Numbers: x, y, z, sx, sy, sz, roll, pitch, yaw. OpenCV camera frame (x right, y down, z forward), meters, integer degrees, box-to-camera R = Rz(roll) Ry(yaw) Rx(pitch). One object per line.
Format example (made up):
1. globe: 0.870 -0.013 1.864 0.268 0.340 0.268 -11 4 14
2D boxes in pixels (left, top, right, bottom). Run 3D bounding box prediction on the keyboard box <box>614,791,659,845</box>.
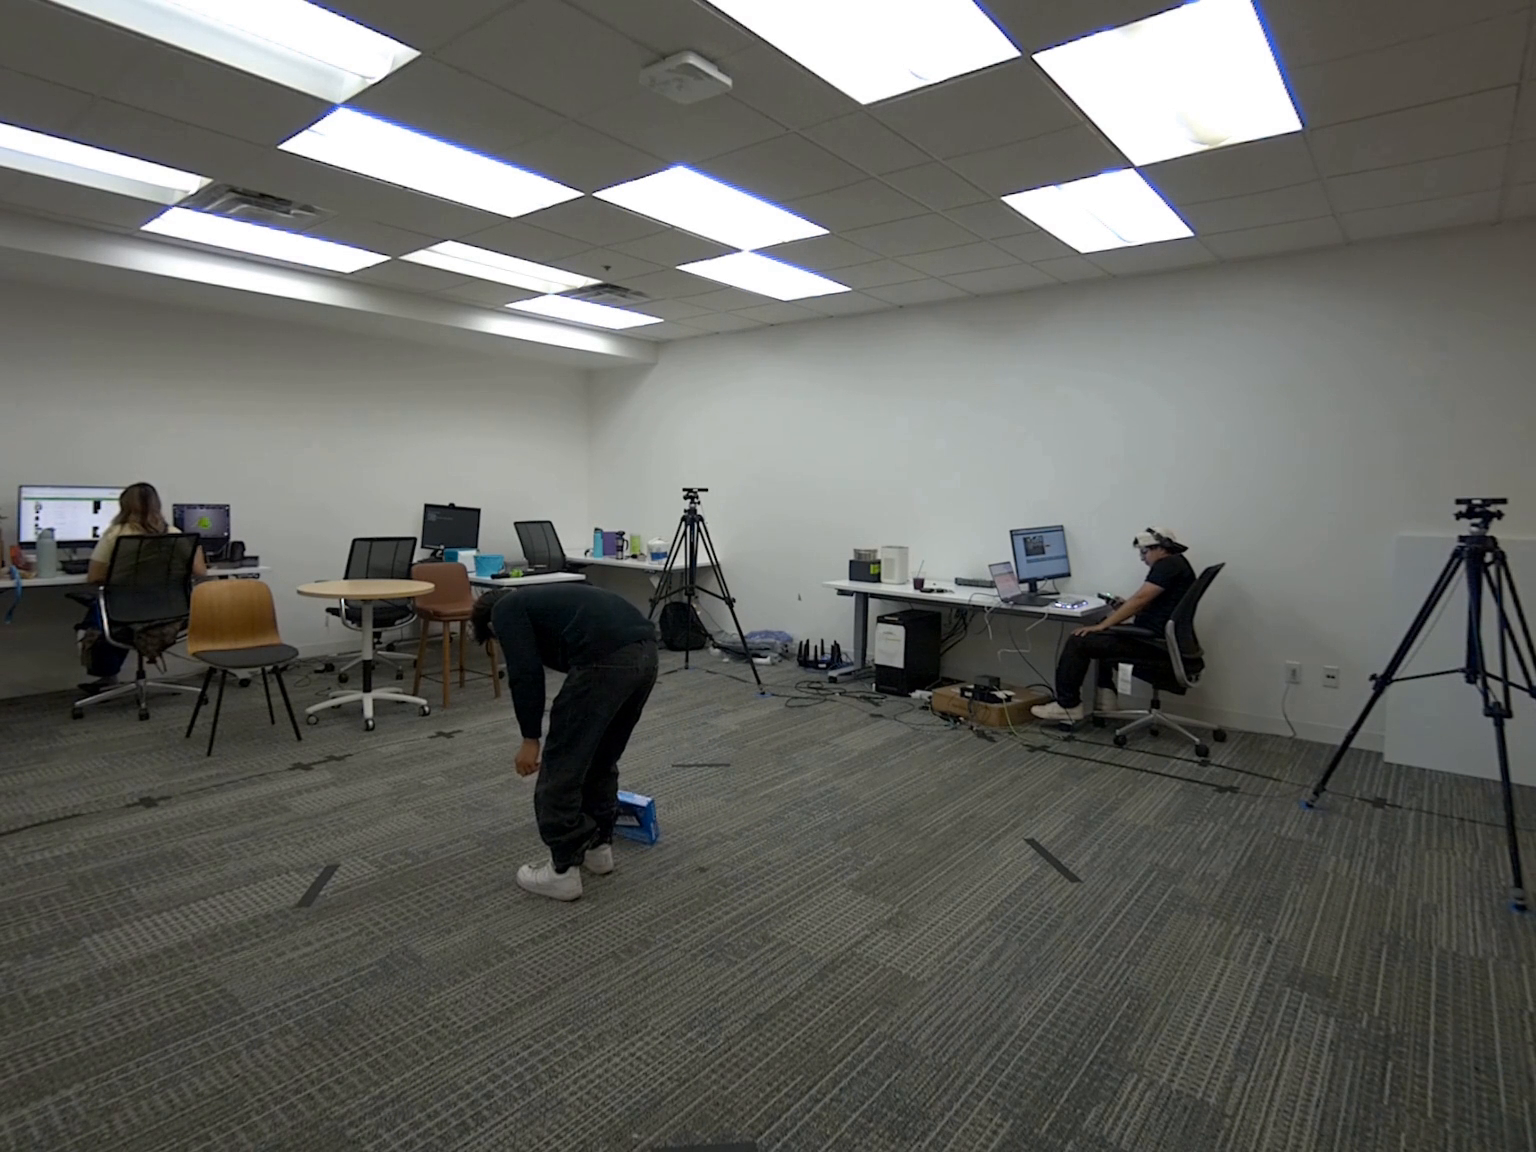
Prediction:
1. keyboard box: -0.655 0.939 3.417 0.449 0.173 0.058 4 18 29
